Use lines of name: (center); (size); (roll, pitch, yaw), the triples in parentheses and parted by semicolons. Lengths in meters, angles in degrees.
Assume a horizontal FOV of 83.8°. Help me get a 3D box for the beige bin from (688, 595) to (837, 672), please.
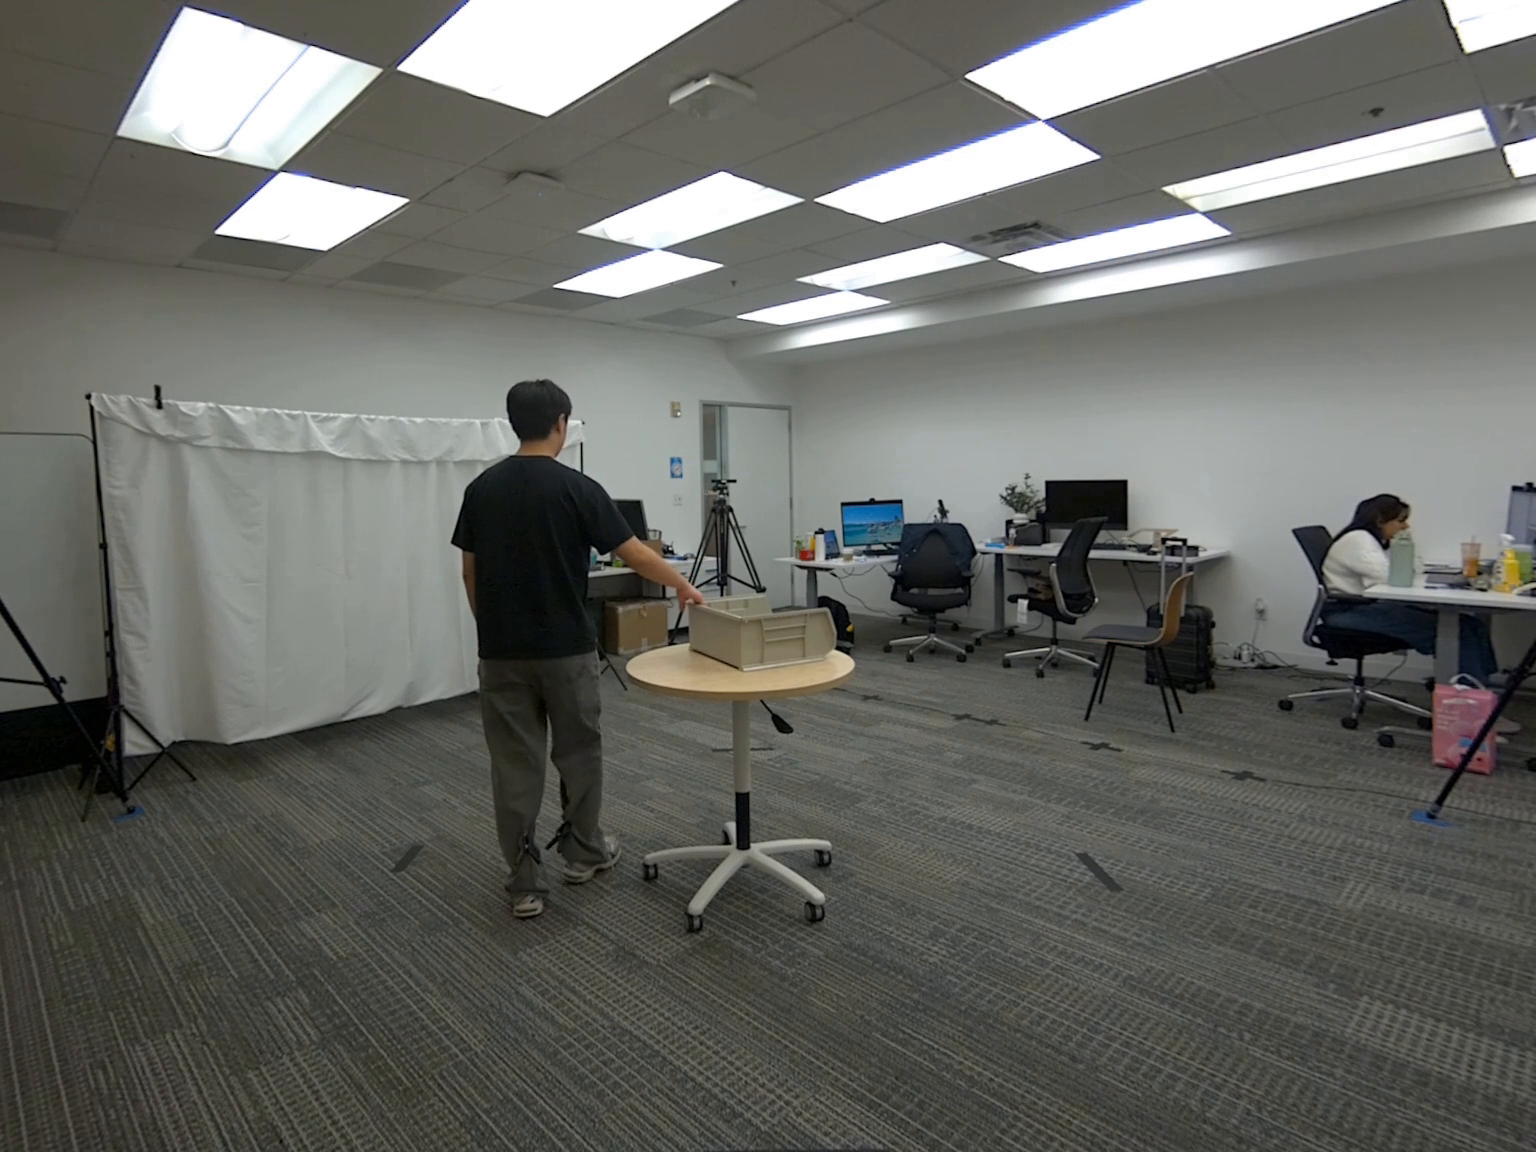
beige bin: (-0.032, 0.187, 2.997); (0.369, 0.188, 0.434); (-7, 9, -29)
